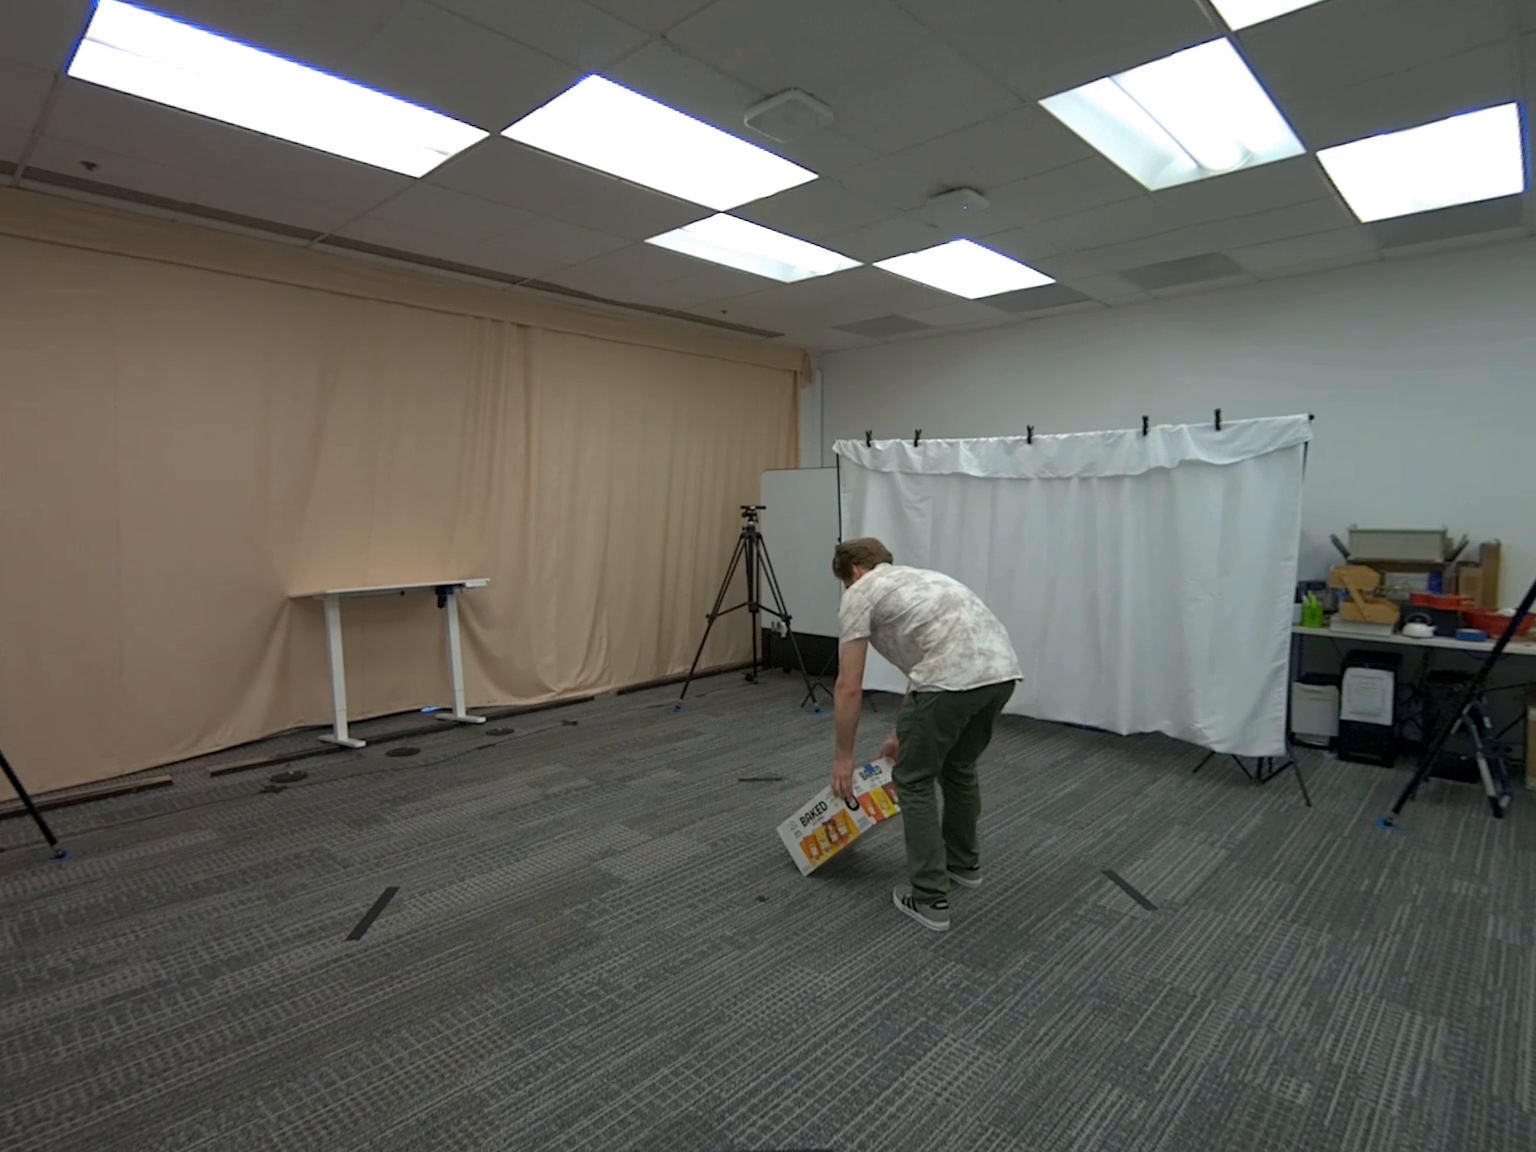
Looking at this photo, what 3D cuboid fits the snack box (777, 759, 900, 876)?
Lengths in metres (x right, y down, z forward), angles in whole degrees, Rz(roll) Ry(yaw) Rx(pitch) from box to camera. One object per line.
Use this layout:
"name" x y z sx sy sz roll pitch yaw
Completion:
"snack box" 0.309 0.913 3.218 0.330 0.211 0.407 -4 -37 -49
